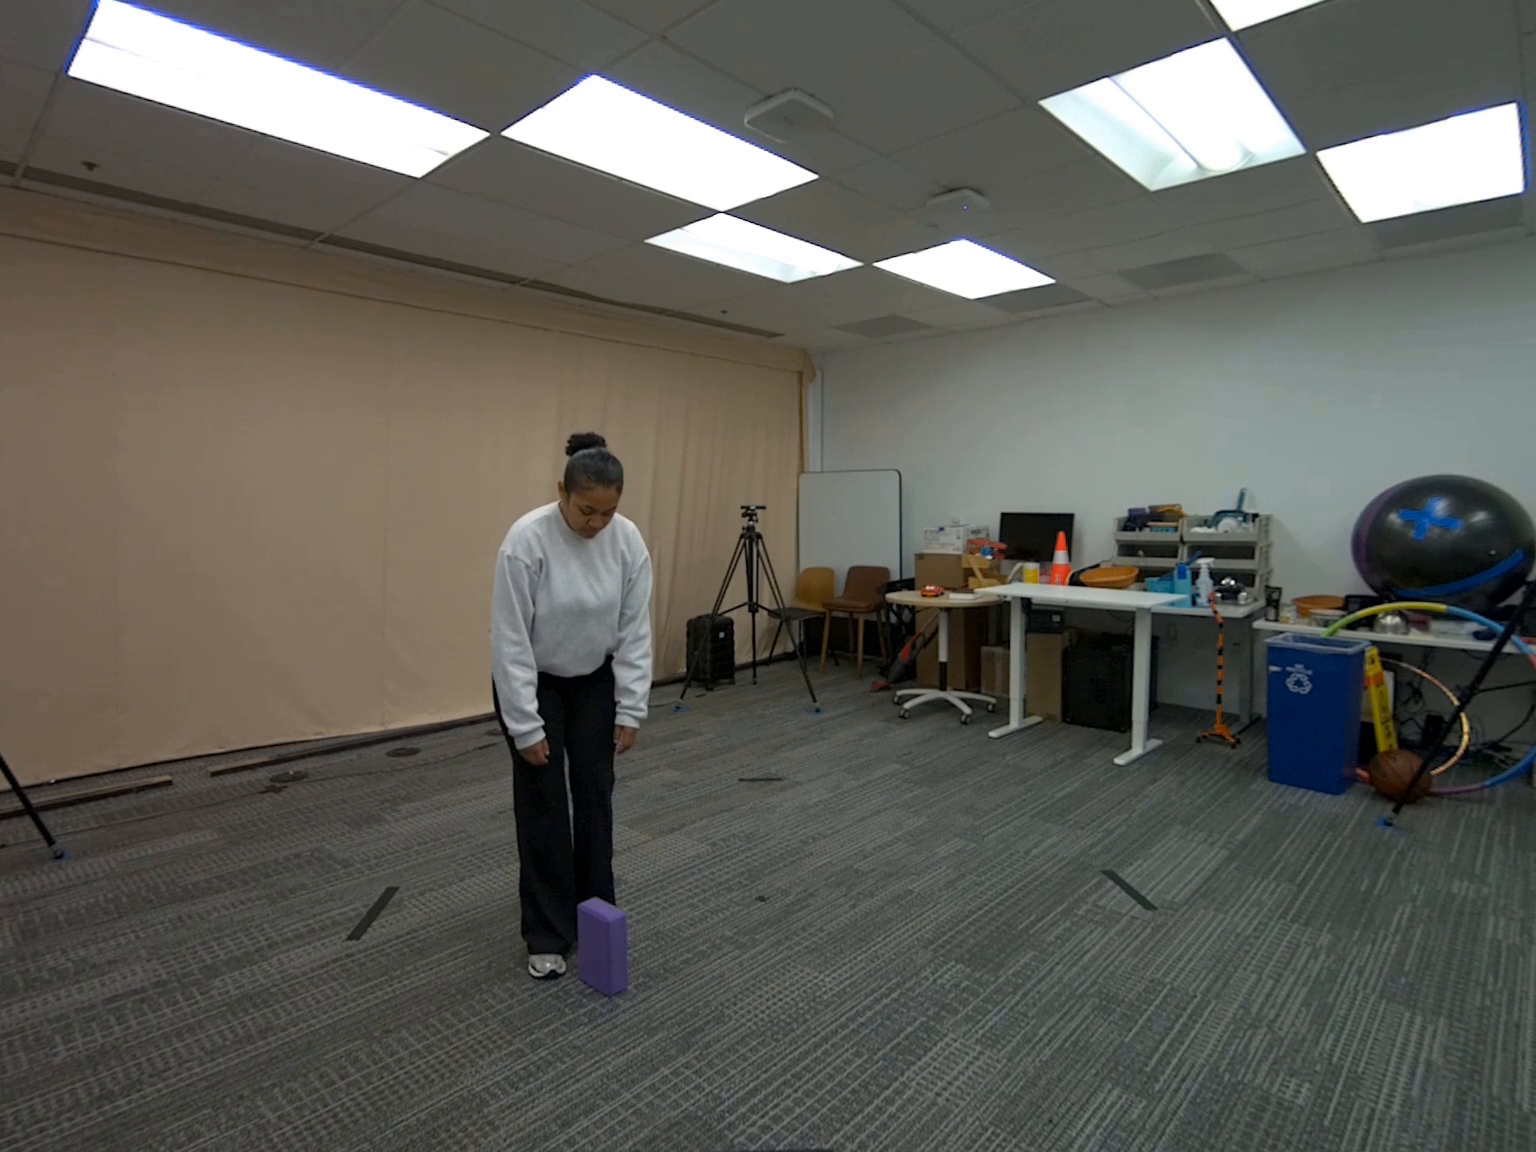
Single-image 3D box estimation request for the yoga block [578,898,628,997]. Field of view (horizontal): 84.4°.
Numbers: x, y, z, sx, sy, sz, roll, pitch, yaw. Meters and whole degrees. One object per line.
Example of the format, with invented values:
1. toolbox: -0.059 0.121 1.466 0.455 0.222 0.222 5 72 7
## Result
1. yoga block: -0.482 1.073 2.443 0.154 0.229 0.074 3 3 41
